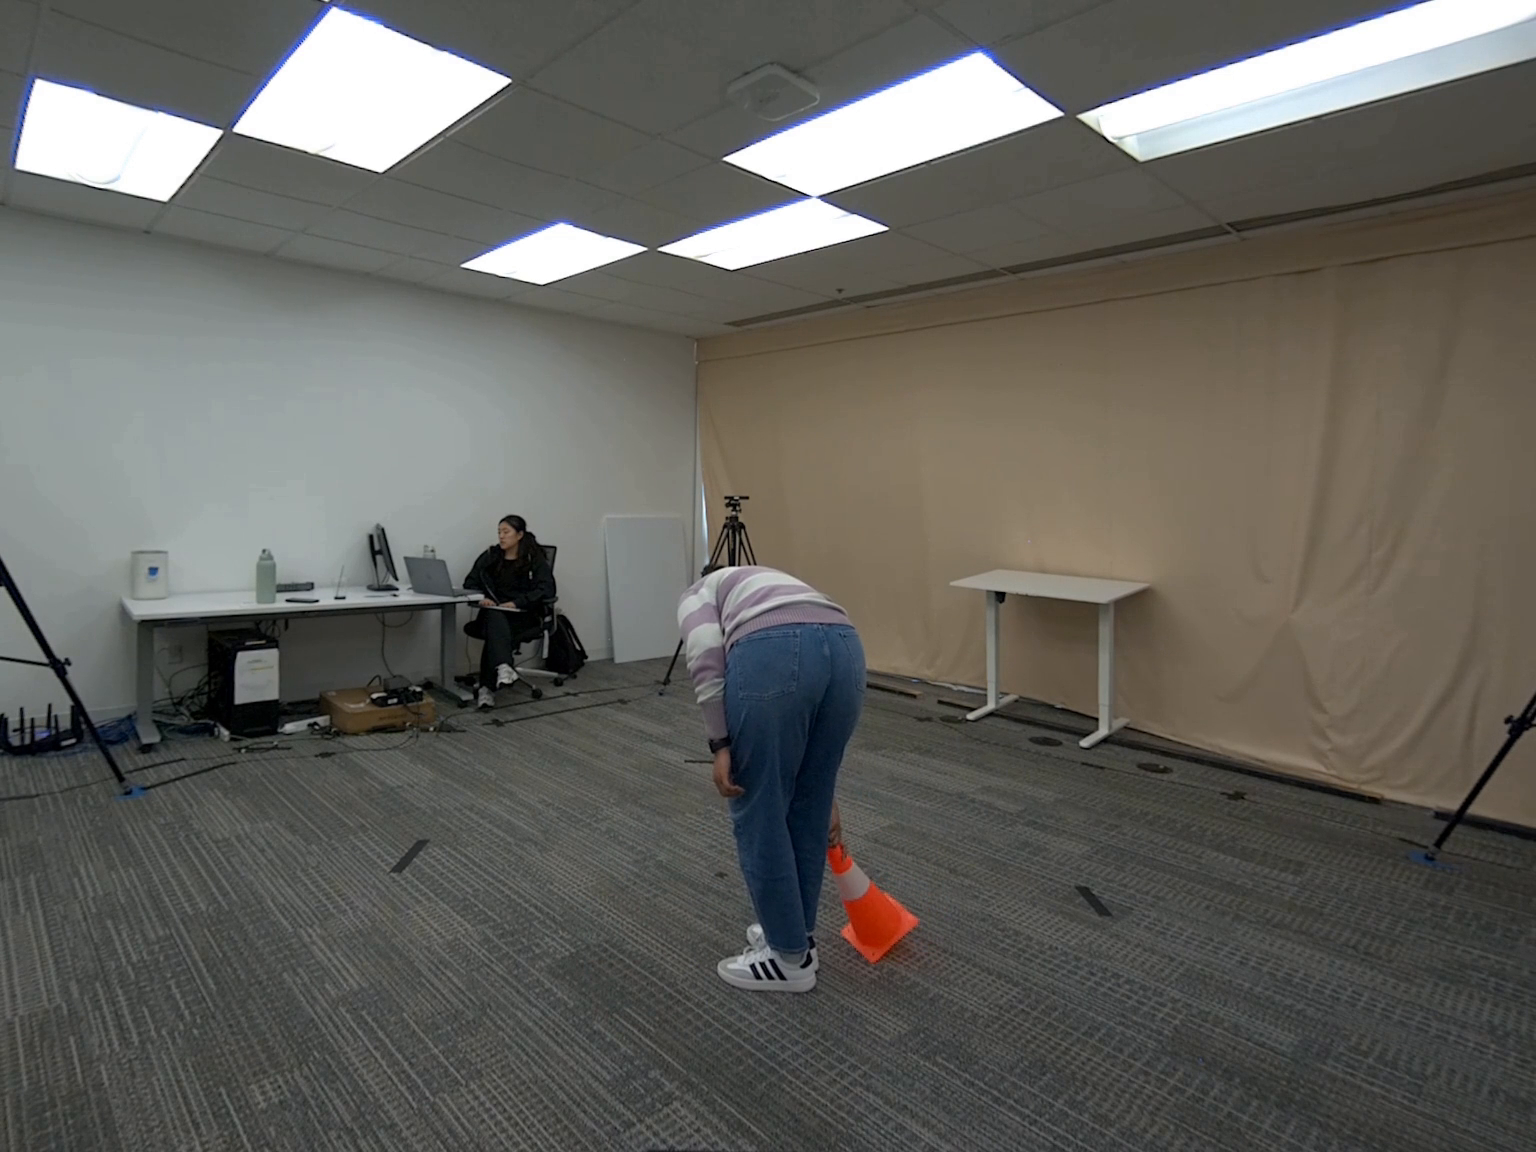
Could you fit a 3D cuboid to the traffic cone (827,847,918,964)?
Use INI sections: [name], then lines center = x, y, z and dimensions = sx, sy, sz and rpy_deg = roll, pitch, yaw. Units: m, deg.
[traffic cone]
center = 0.268, 0.956, 2.598
dimensions = 0.202, 0.378, 0.209
rpy_deg = -34, 16, -14
